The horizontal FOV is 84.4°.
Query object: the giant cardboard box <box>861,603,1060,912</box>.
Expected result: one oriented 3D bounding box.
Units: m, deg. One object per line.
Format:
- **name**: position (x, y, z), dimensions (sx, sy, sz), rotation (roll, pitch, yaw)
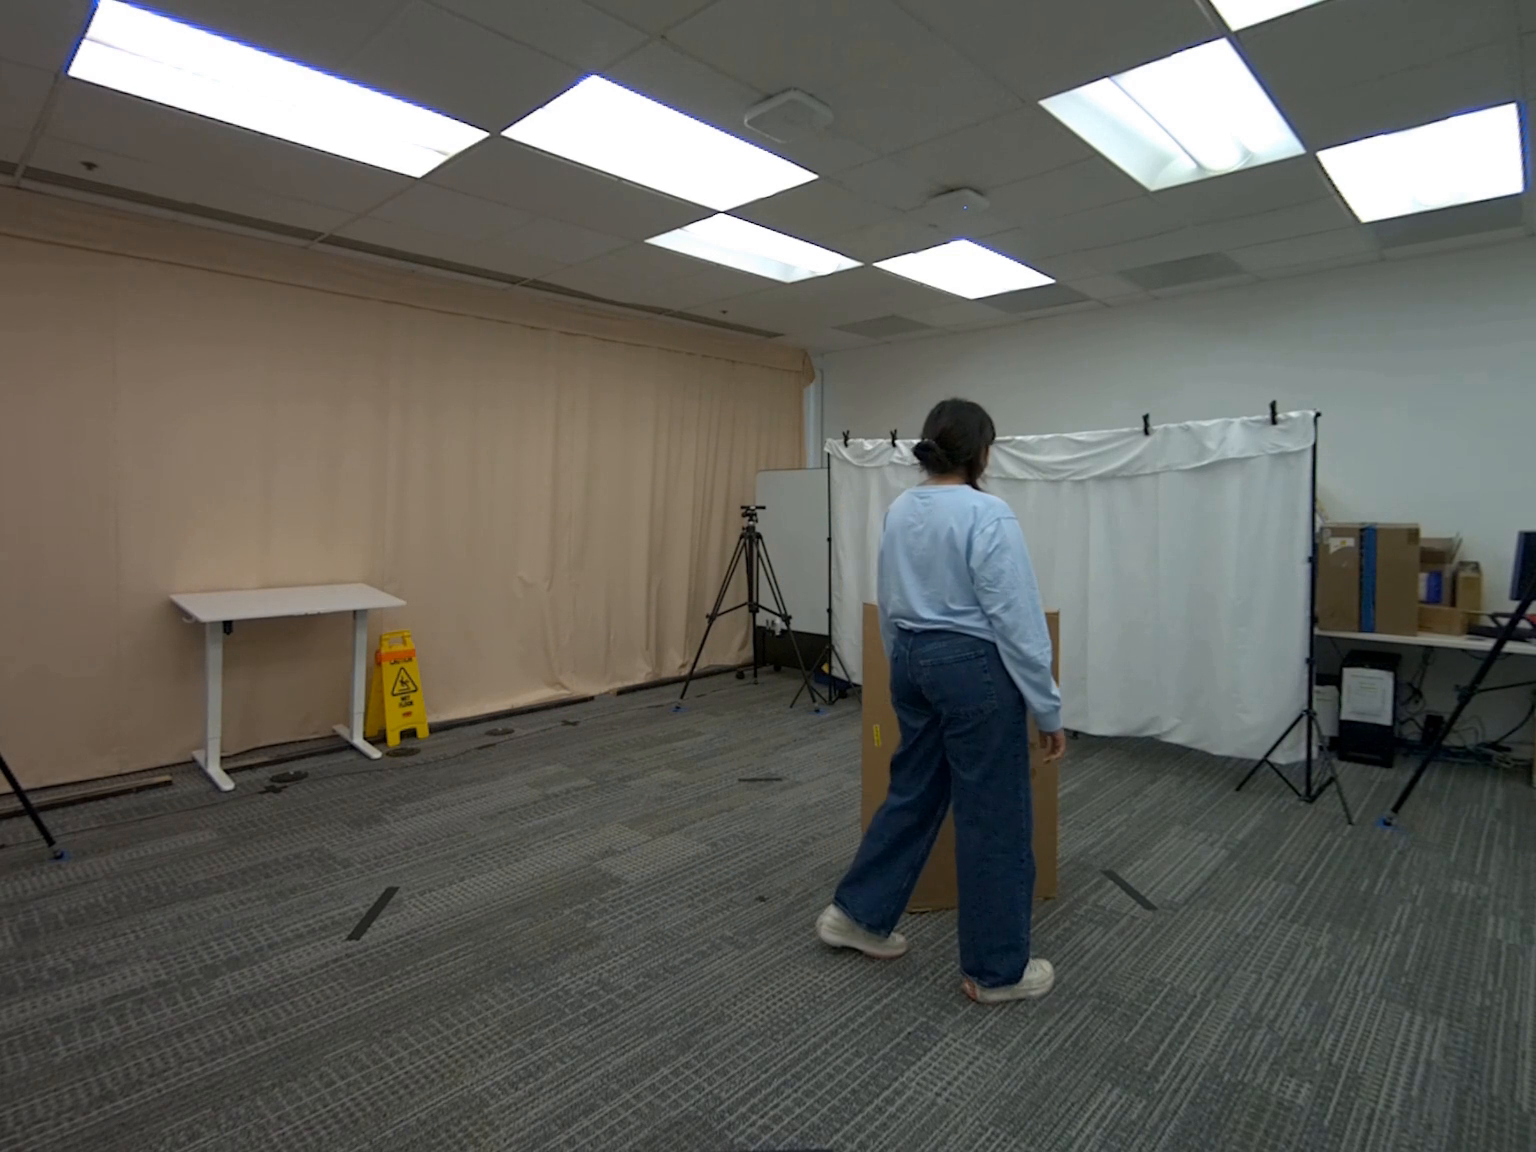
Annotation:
- **giant cardboard box**: position (0.706, 0.622, 3.116), dimensions (0.569, 1.024, 0.433), rotation (0, 3, -15)
